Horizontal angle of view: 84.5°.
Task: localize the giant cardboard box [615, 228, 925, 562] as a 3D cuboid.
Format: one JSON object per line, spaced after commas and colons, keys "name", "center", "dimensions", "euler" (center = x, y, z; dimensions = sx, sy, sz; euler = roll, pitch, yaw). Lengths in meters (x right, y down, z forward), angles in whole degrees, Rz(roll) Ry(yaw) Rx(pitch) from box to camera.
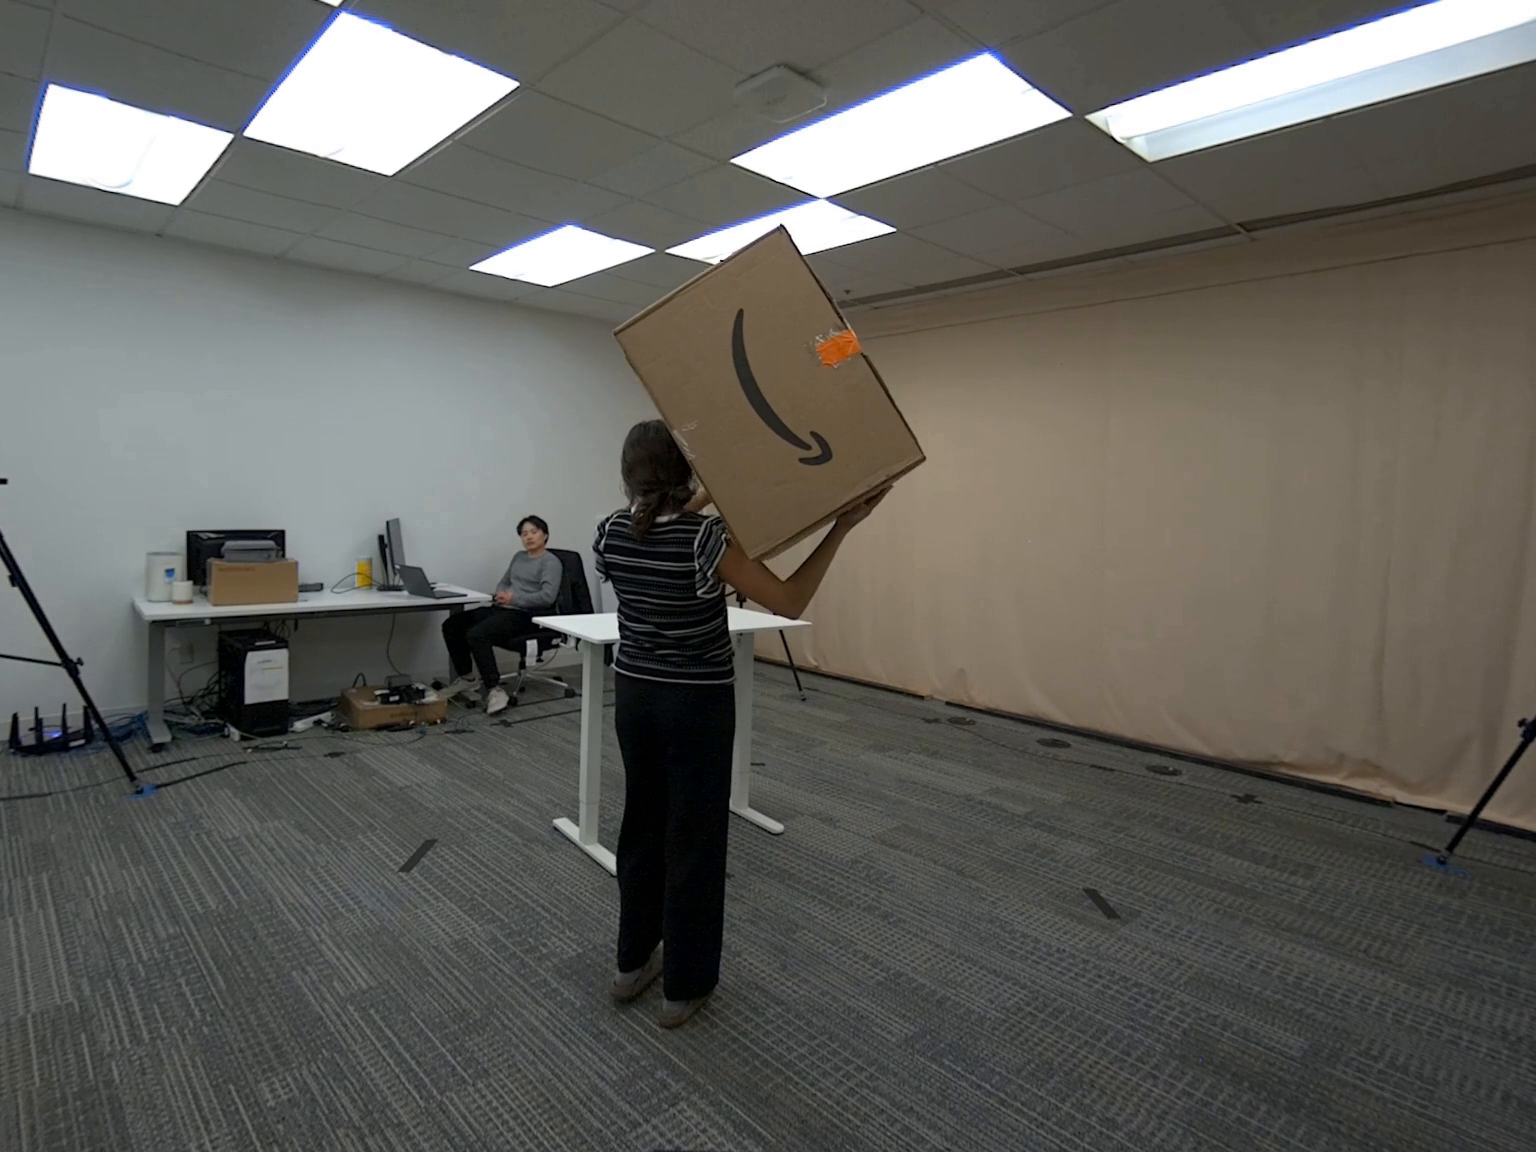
{"name": "giant cardboard box", "center": [0.012, -0.391, 2.242], "dimensions": [0.426, 0.579, 1.023], "euler": [-31, -1, 2]}
